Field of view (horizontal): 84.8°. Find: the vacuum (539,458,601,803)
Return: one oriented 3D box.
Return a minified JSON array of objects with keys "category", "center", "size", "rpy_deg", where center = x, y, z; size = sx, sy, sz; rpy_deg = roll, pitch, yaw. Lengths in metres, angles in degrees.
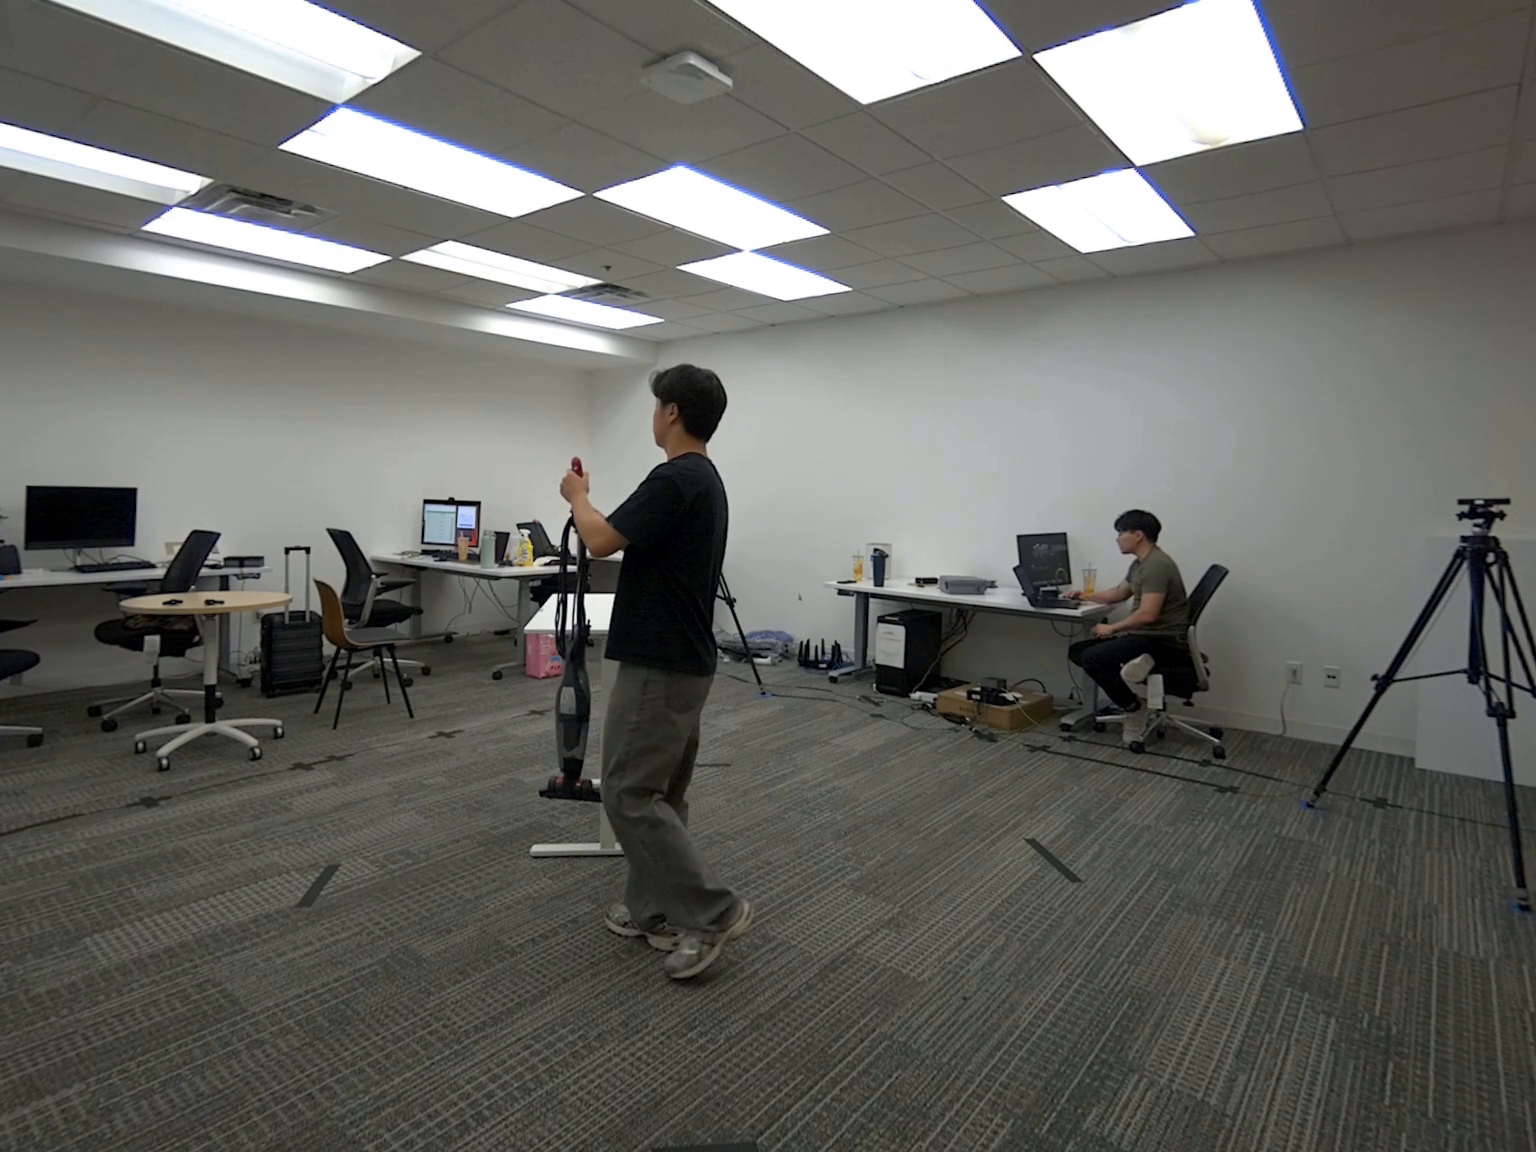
[{"category":"vacuum","center":[-0.625,0.165,2.647],"size":[0.252,1.044,0.145],"rpy_deg":[0,5,-2]}]
